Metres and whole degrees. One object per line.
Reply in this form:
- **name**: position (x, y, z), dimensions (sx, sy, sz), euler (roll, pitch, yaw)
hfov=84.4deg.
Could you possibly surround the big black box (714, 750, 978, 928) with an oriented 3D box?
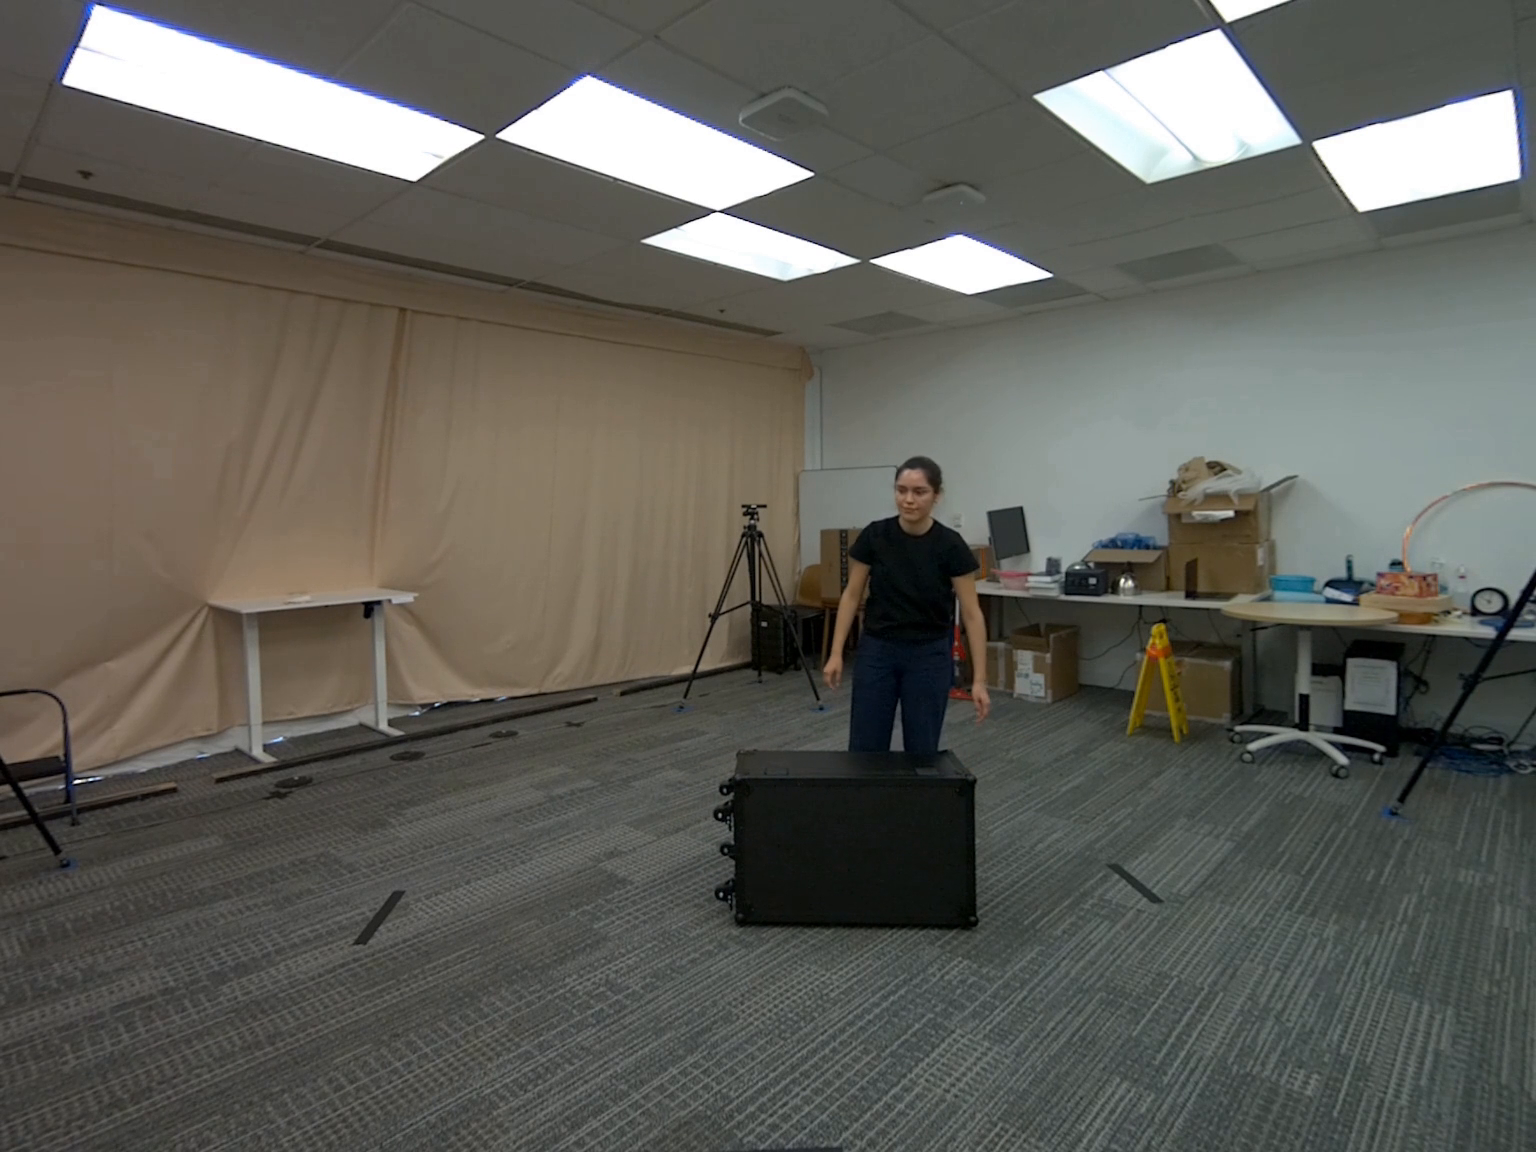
- **big black box**: position (0.262, 0.882, 2.934), dimensions (0.864, 0.521, 0.395), euler (0, 1, 3)
